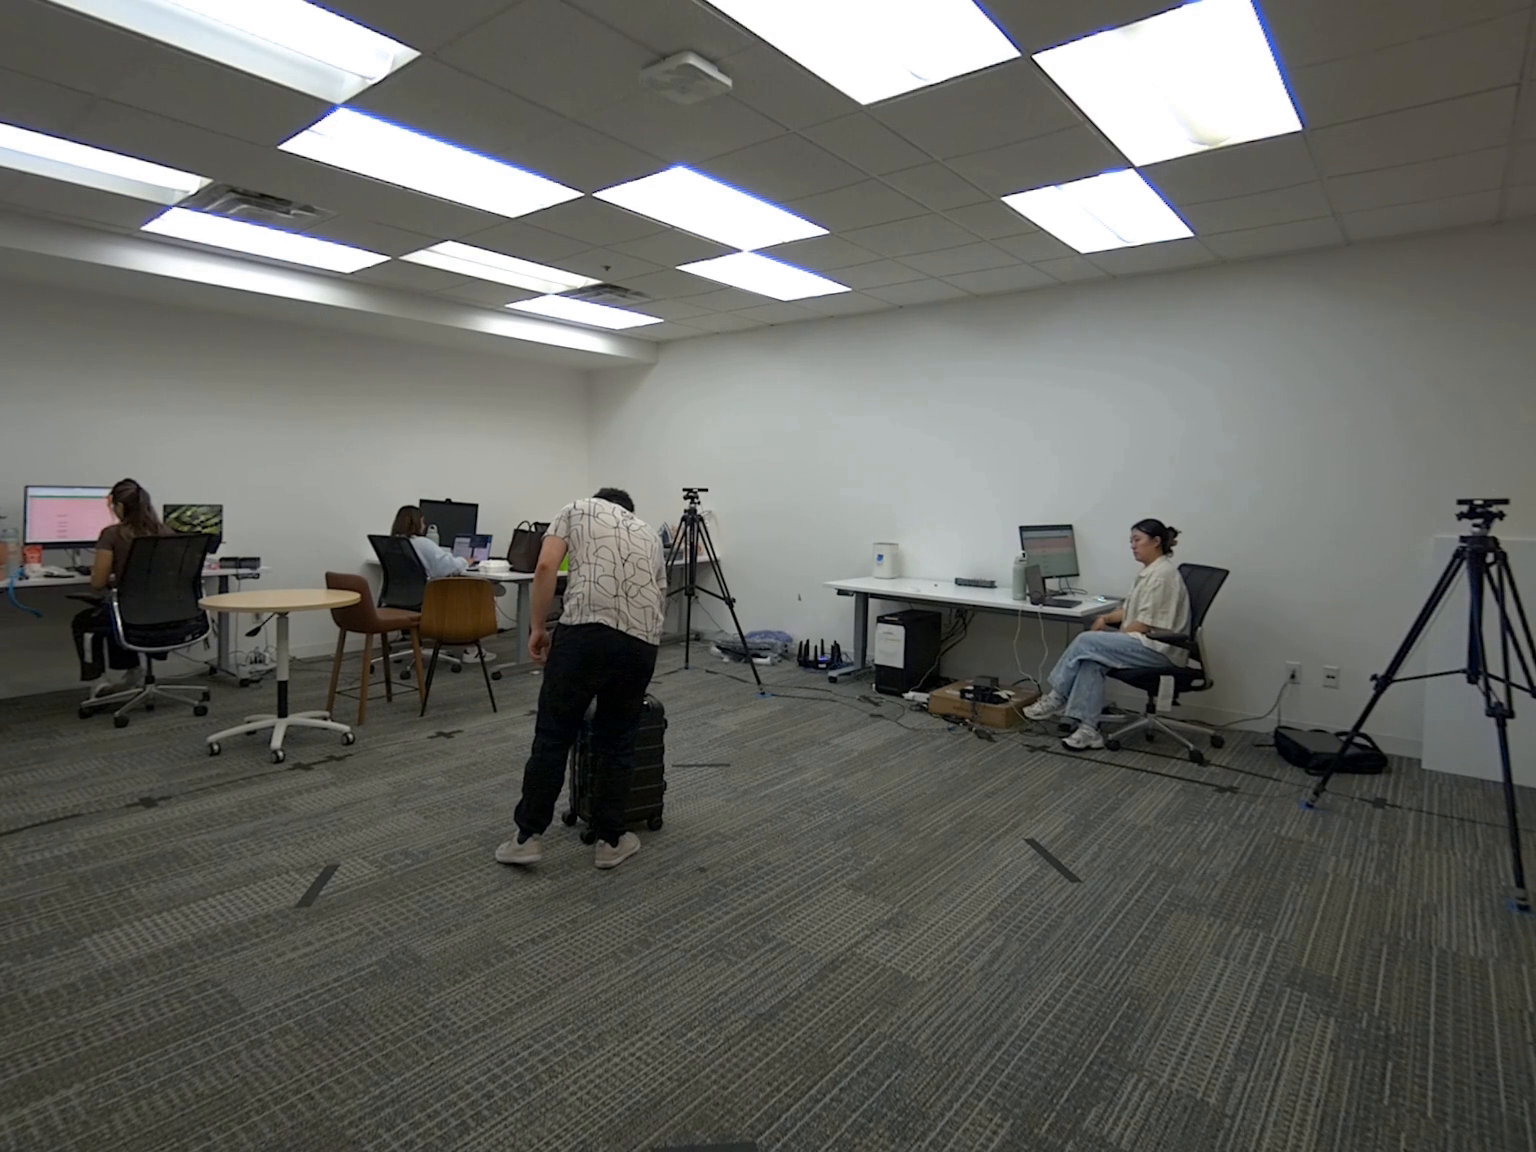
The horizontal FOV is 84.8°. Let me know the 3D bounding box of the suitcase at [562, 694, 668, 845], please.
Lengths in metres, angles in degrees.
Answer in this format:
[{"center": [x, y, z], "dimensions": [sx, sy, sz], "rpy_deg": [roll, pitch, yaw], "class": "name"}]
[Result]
[{"center": [-0.636, 0.747, 3.491], "dimensions": [0.365, 0.548, 0.256], "rpy_deg": [-1, 3, -32], "class": "suitcase"}]
